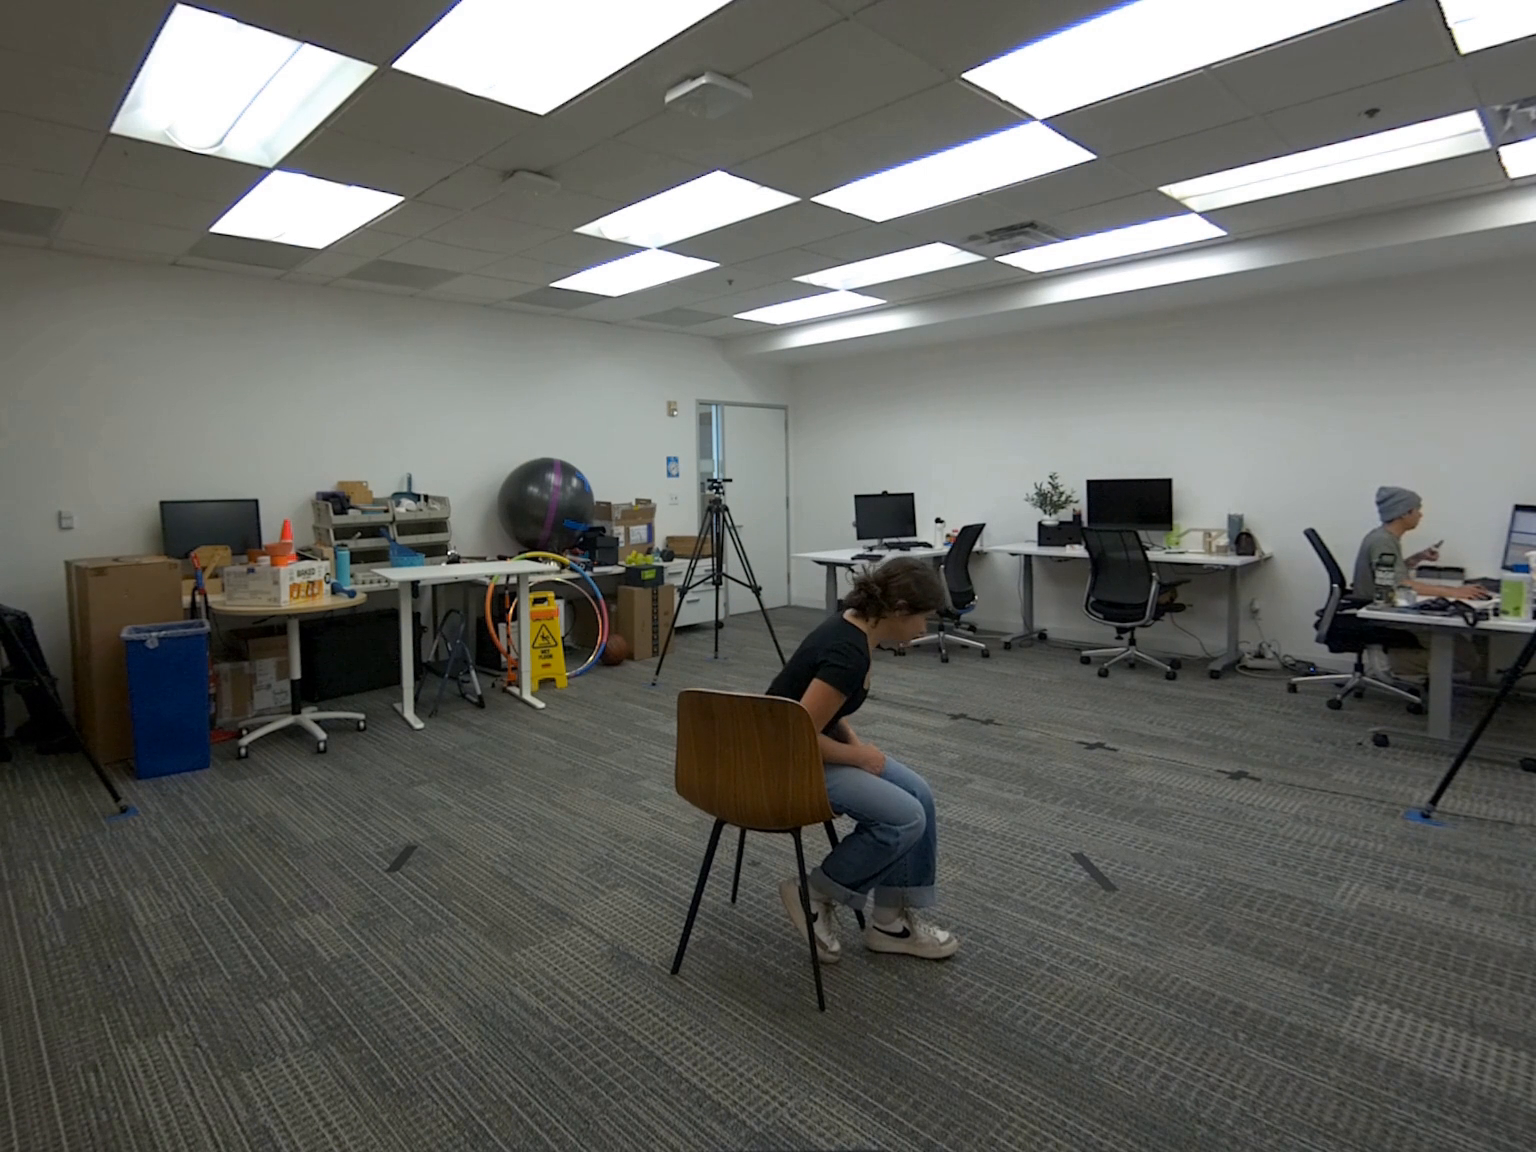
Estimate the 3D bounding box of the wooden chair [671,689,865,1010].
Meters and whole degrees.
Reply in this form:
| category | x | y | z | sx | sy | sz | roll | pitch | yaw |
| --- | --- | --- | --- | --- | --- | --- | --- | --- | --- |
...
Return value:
| category | x | y | z | sx | sy | sz | roll | pitch | yaw |
| --- | --- | --- | --- | --- | --- | --- | --- | --- | --- |
| wooden chair | 0.009 | 0.690 | 2.513 | 0.488 | 0.870 | 0.516 | 2 | 9 | 22 |
